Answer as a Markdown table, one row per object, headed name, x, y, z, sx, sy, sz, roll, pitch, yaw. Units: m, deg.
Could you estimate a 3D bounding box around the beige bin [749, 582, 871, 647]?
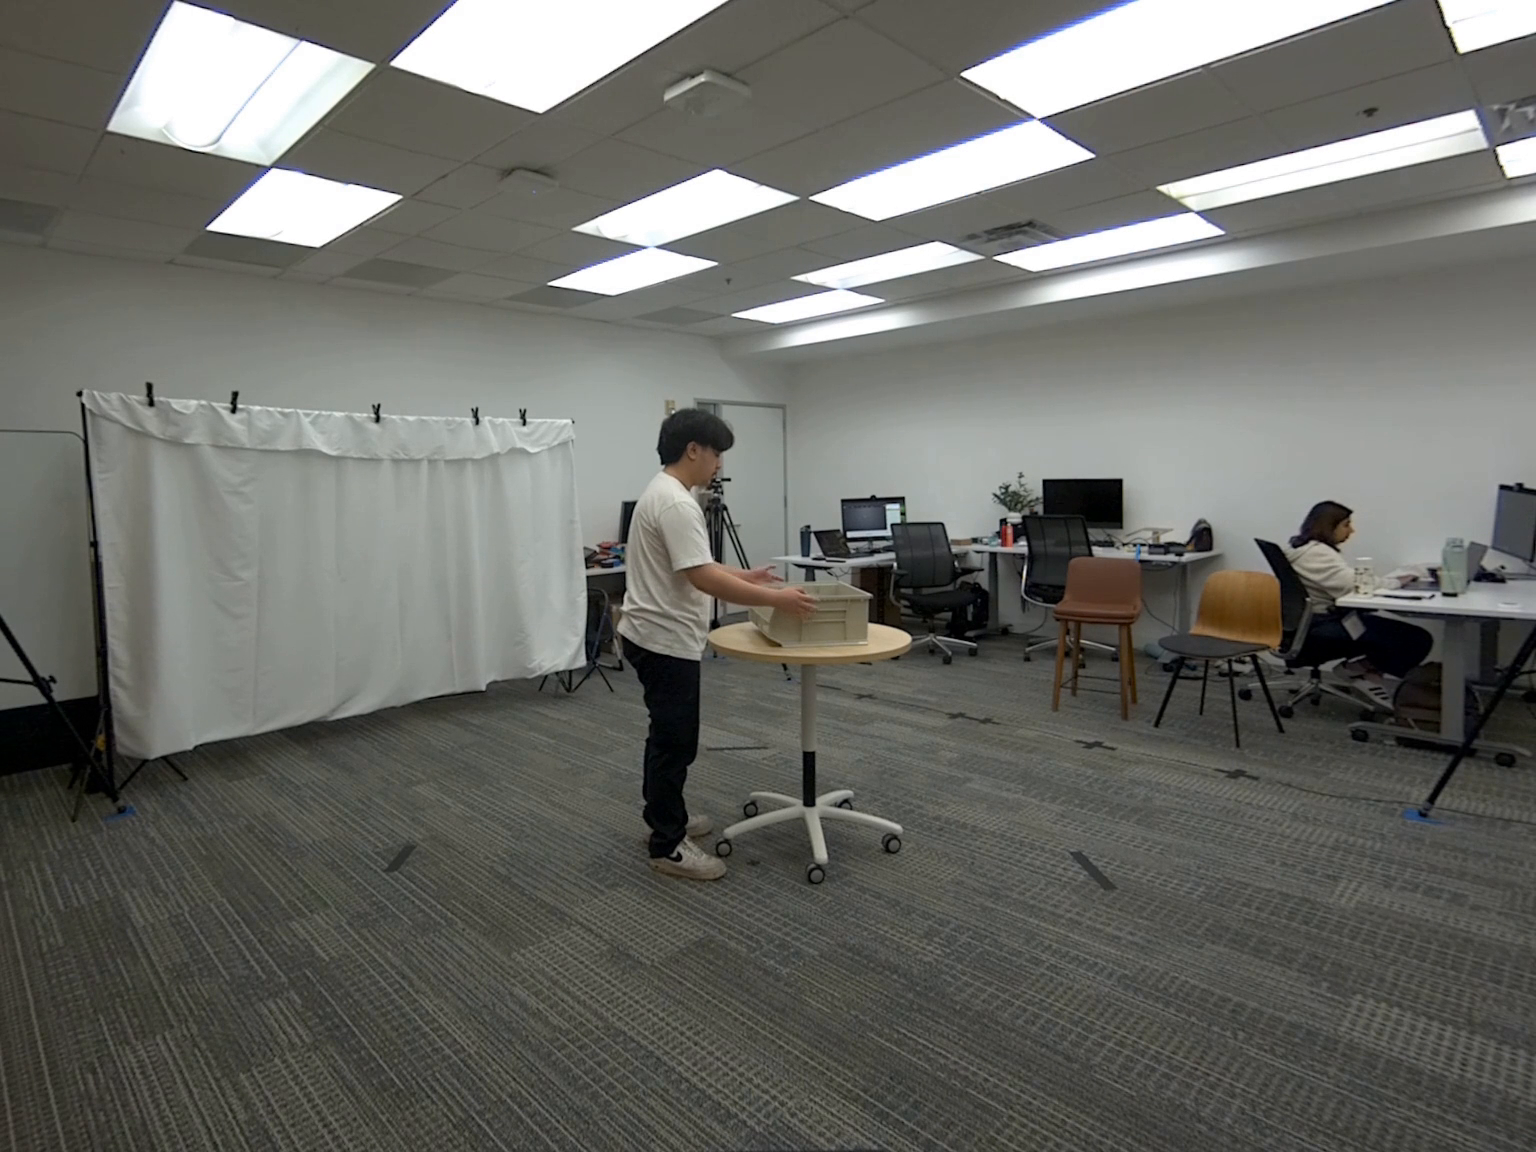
| name | x | y | z | sx | sy | sz | roll | pitch | yaw |
| --- | --- | --- | --- | --- | --- | --- | --- | --- | --- |
| beige bin | 0.152 | 0.136 | 3.214 | 0.374 | 0.188 | 0.428 | 0 | 5 | -11 |
